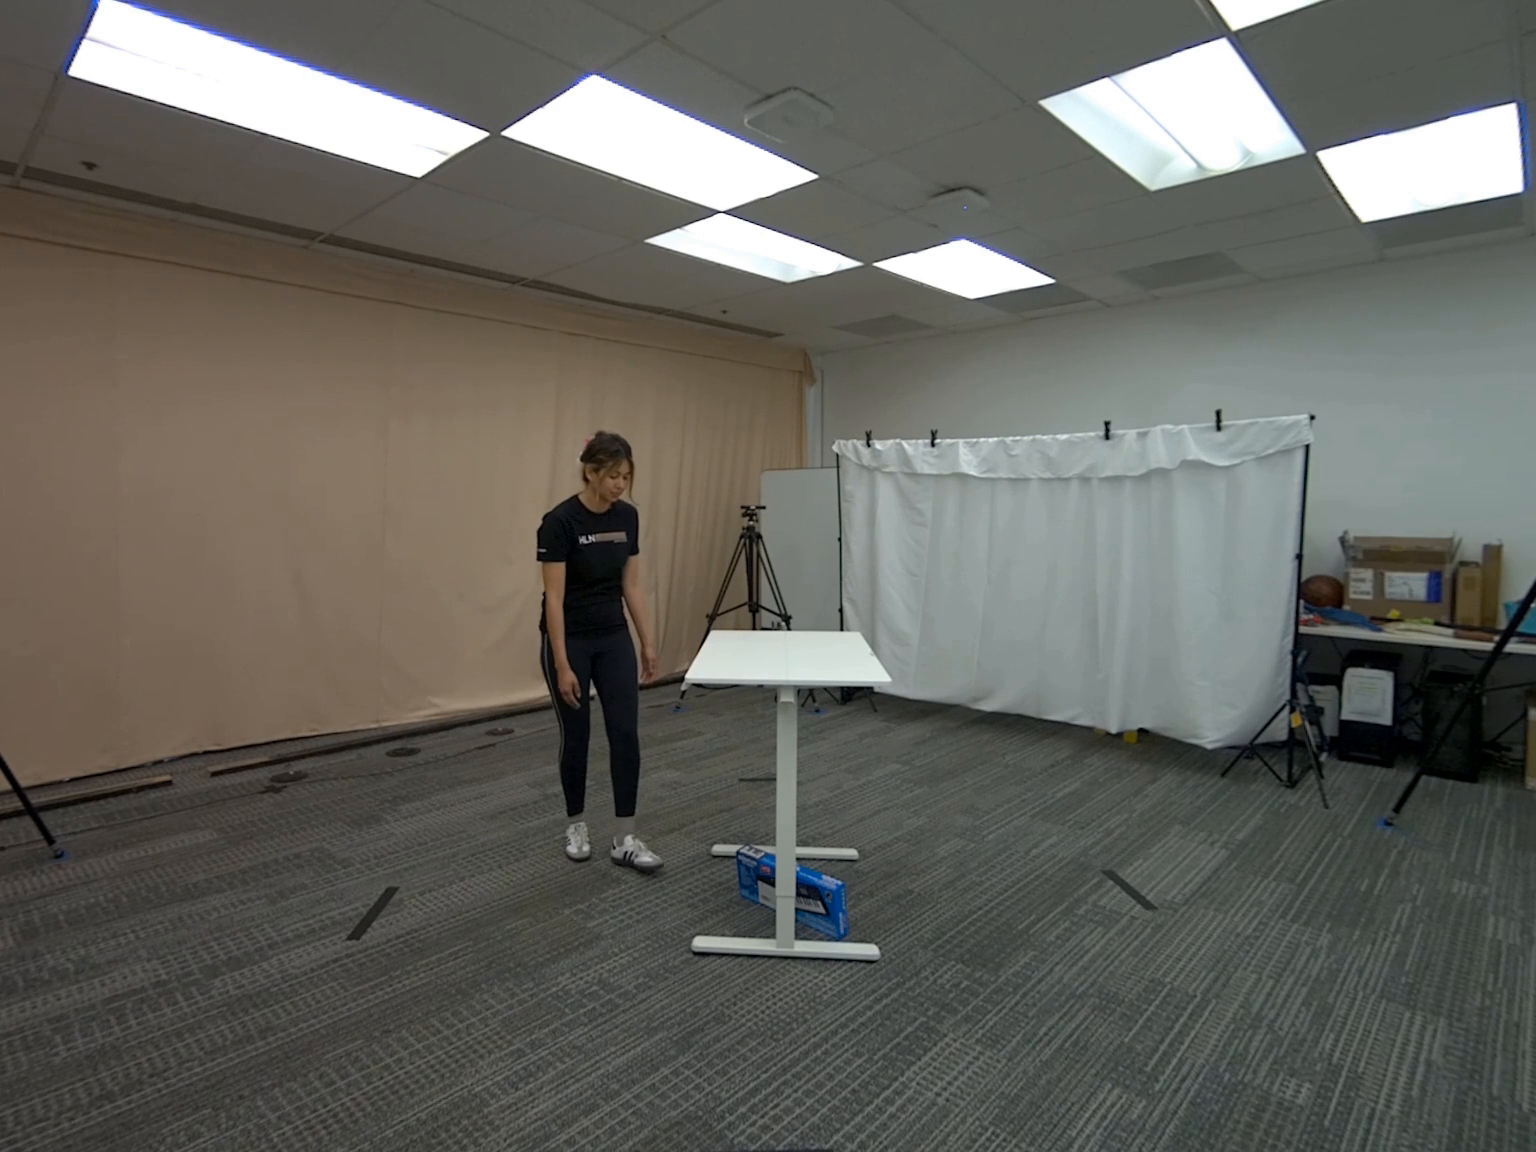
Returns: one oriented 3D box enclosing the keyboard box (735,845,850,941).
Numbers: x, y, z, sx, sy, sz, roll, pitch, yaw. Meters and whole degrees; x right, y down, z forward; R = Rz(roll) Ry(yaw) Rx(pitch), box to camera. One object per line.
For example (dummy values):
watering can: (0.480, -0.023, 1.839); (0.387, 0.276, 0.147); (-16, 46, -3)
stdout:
keyboard box: (0.078, 1.067, 2.860); (0.451, 0.175, 0.057); (4, 12, 43)
